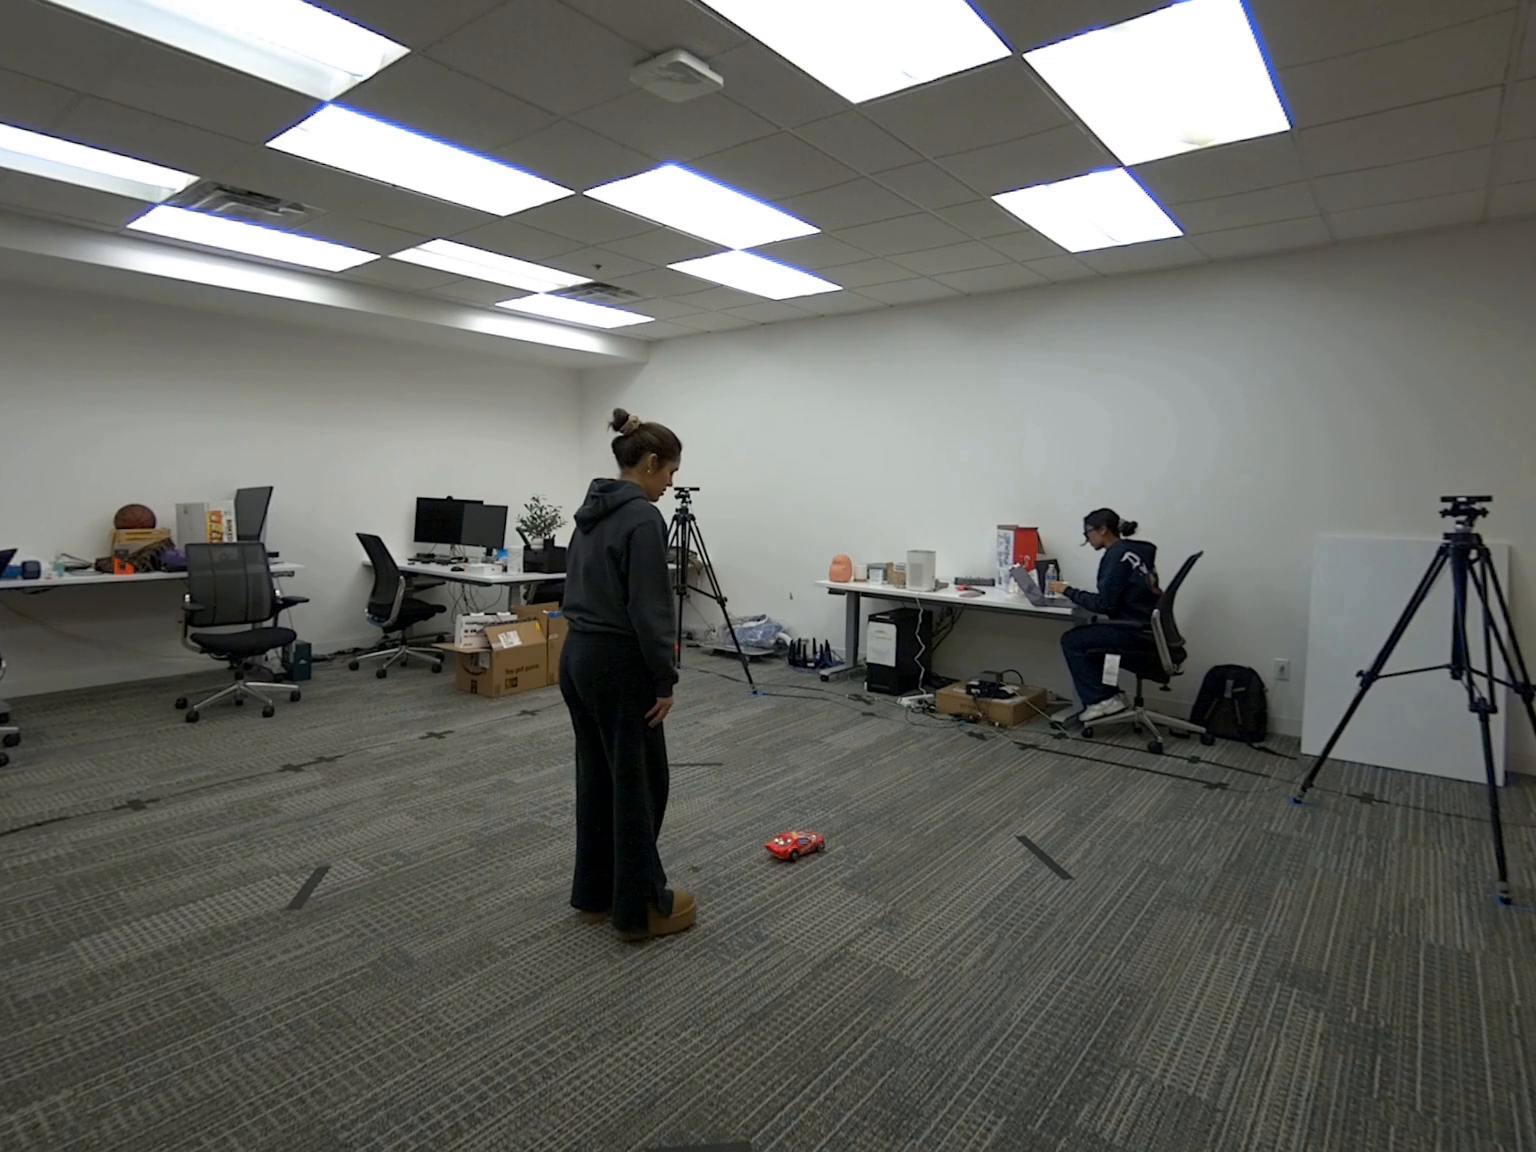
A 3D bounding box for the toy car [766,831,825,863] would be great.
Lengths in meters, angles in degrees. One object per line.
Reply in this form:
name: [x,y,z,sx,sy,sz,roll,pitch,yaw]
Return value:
toy car: [0.102,1.024,3.250,0.245,0.083,0.135,11,-2,-40]
